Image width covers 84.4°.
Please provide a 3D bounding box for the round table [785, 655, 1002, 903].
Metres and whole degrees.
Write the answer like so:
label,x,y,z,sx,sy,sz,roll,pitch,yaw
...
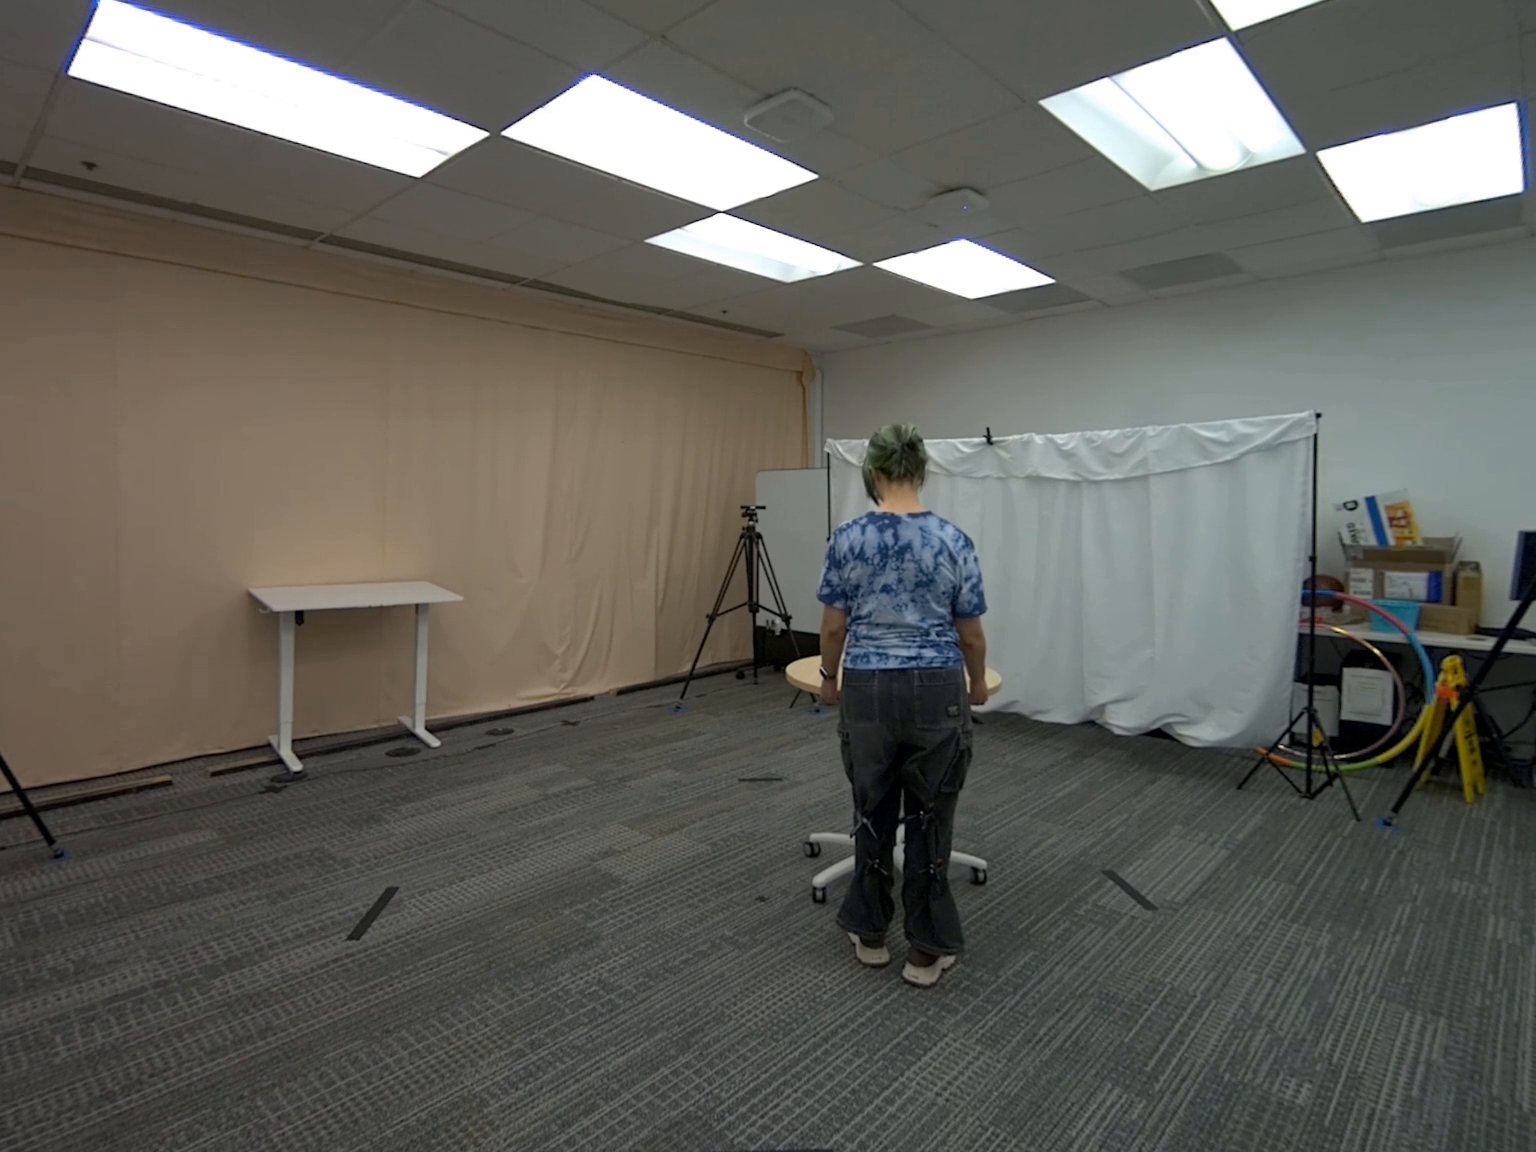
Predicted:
label,x,y,z,sx,sy,sz,roll,pitch,yaw
round table,0.448,0.742,3.103,0.763,0.792,0.767,0,4,-2
